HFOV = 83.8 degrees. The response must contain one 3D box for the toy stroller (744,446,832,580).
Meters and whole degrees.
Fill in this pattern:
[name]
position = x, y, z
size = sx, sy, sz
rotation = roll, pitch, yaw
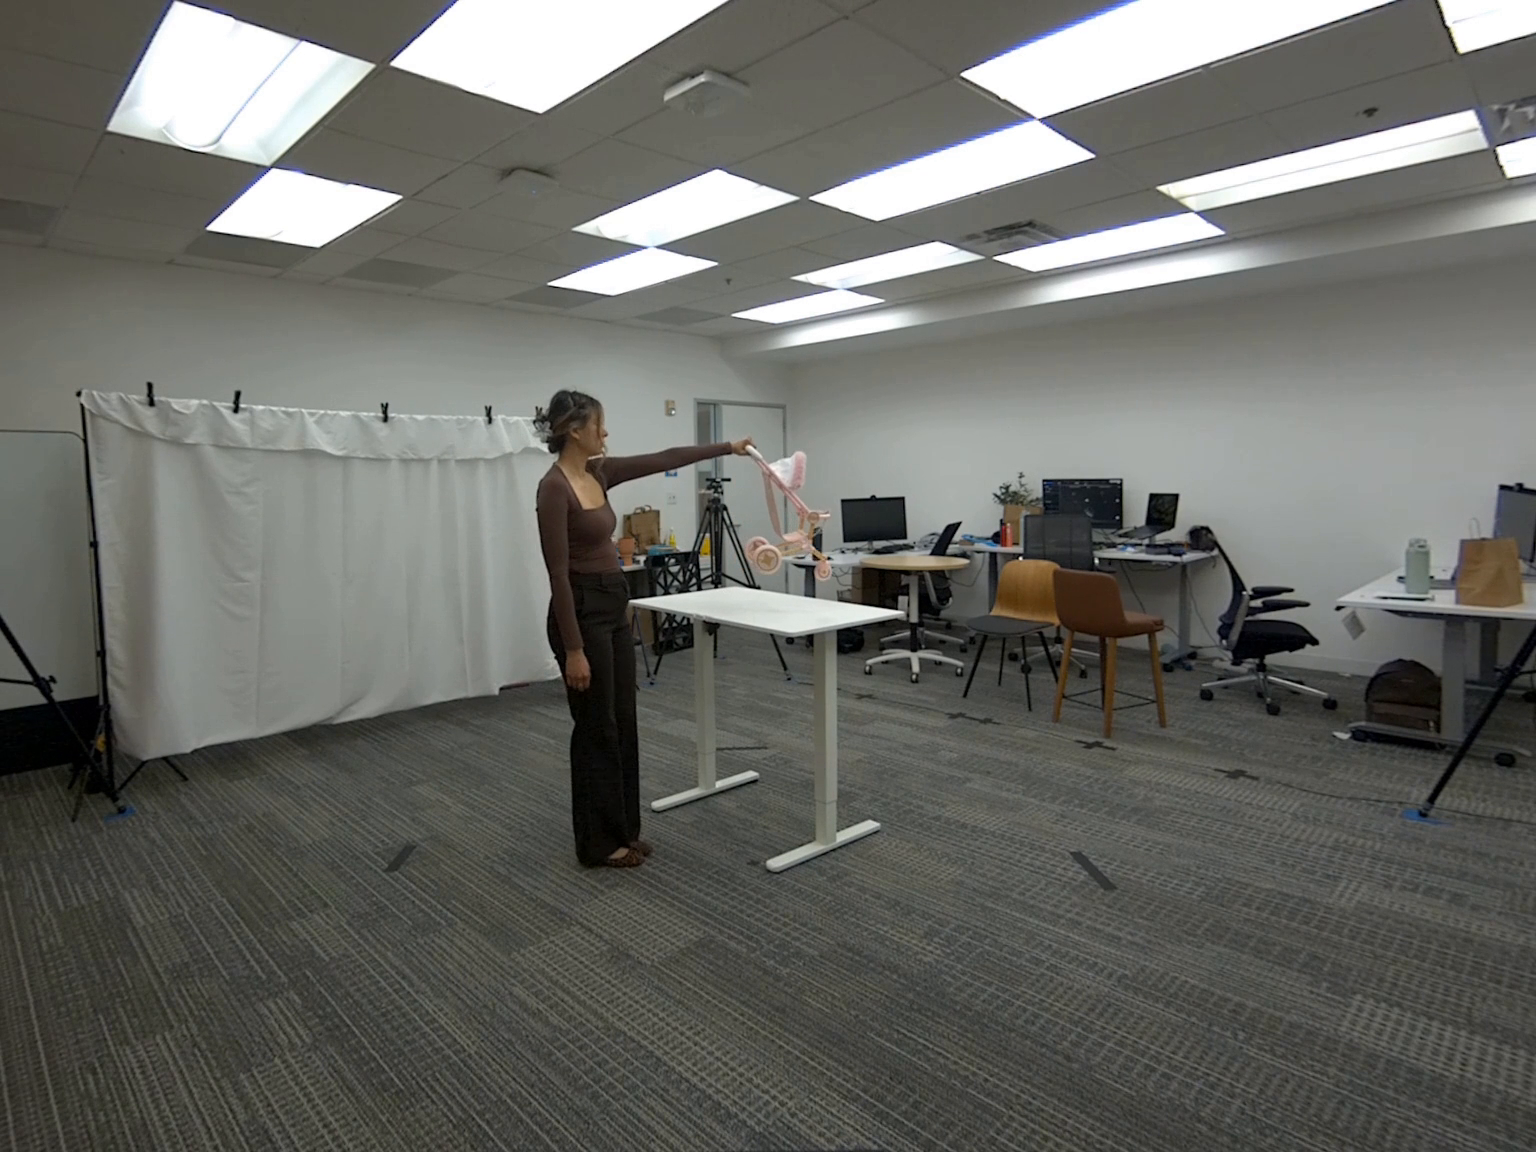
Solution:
[toy stroller]
position = 0.100, -0.238, 3.307
size = 0.341, 0.532, 0.284
rotation = -1, 7, -2
